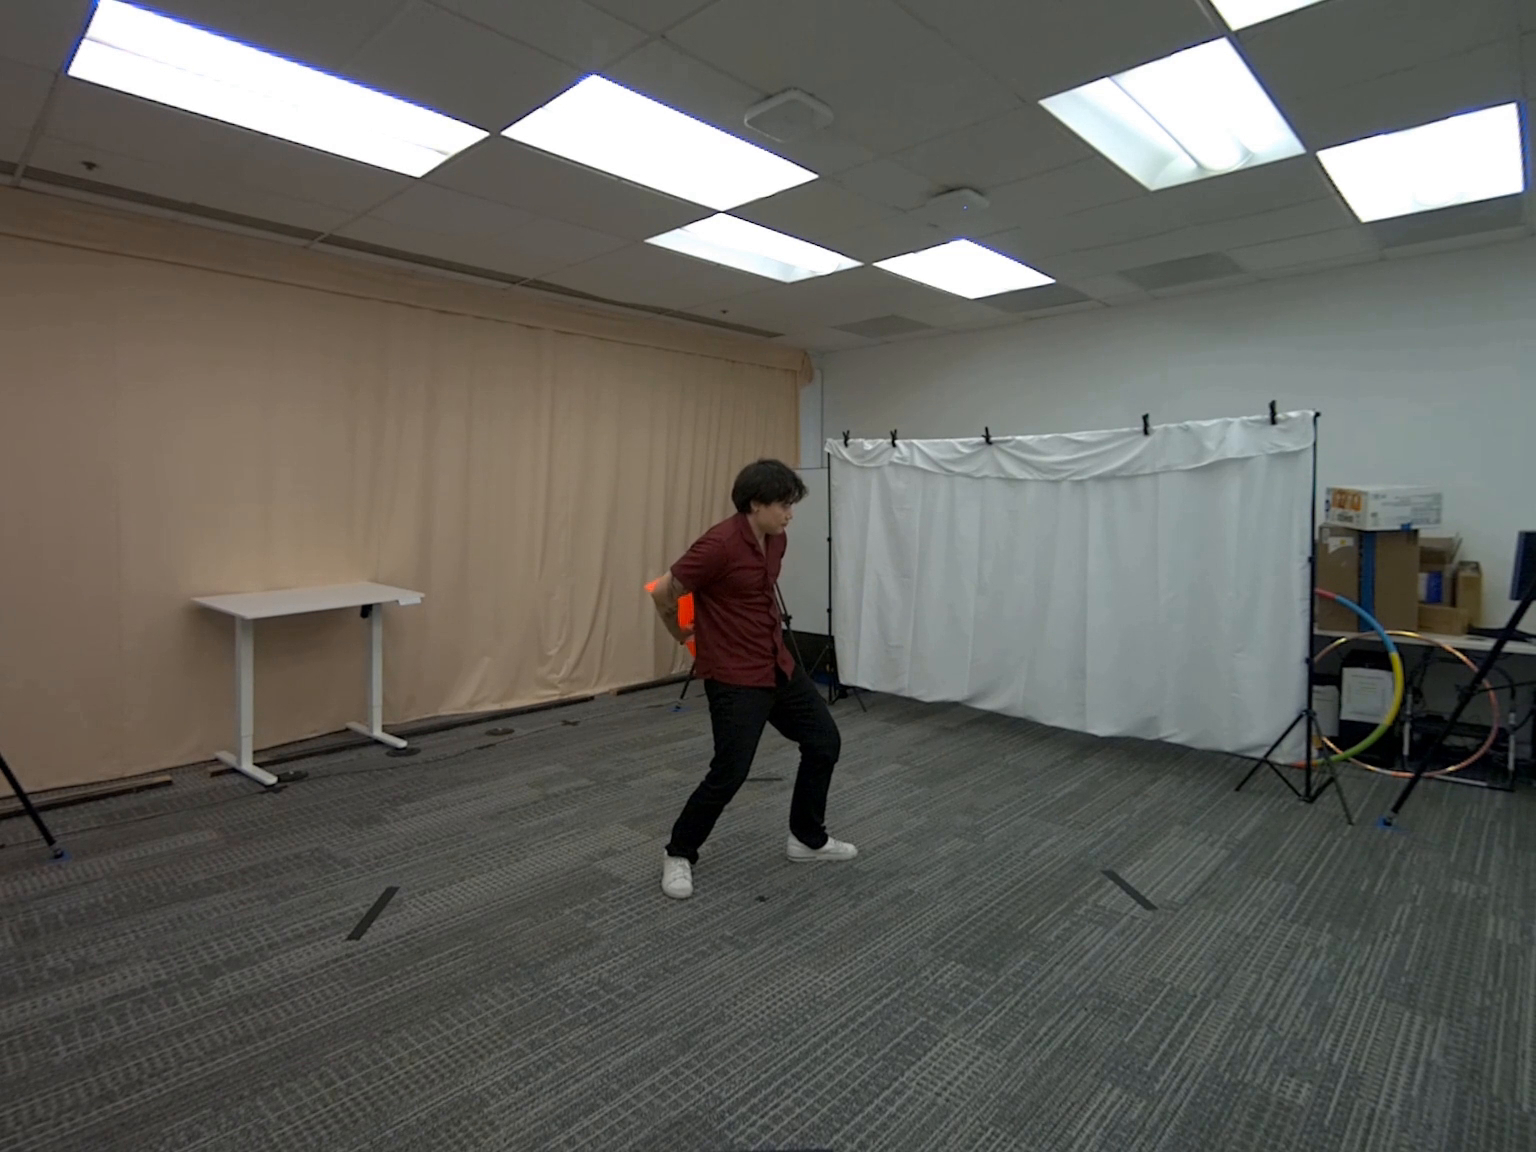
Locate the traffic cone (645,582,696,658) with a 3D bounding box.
[{"bbox_3d":[-0.321,0.195,3.350,0.212,0.376,0.200,14,34,40],"label":"traffic cone"}]
